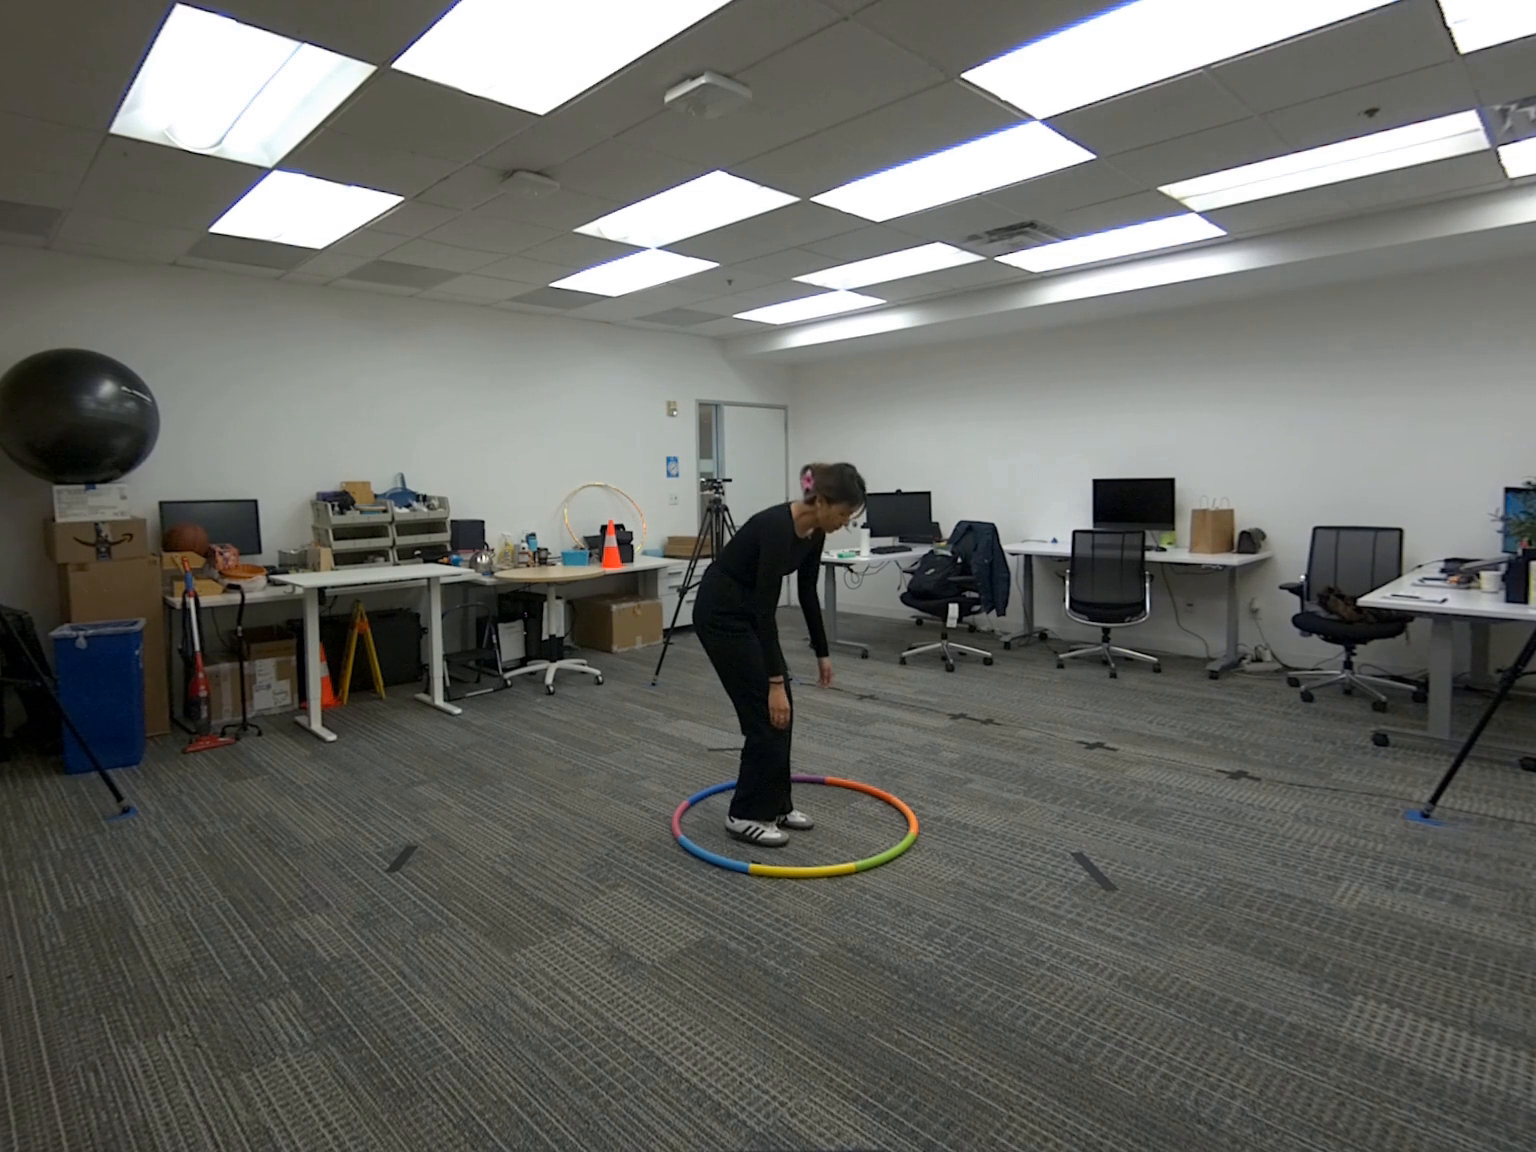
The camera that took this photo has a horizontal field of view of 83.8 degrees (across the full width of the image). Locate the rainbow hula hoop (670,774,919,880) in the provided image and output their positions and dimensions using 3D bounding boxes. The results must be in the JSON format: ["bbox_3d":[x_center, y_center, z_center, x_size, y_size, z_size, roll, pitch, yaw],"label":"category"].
[{"bbox_3d":[0.099,0.974,3.455,0.978,0.035,0.984,-1,6,-2],"label":"rainbow hula hoop"}]
